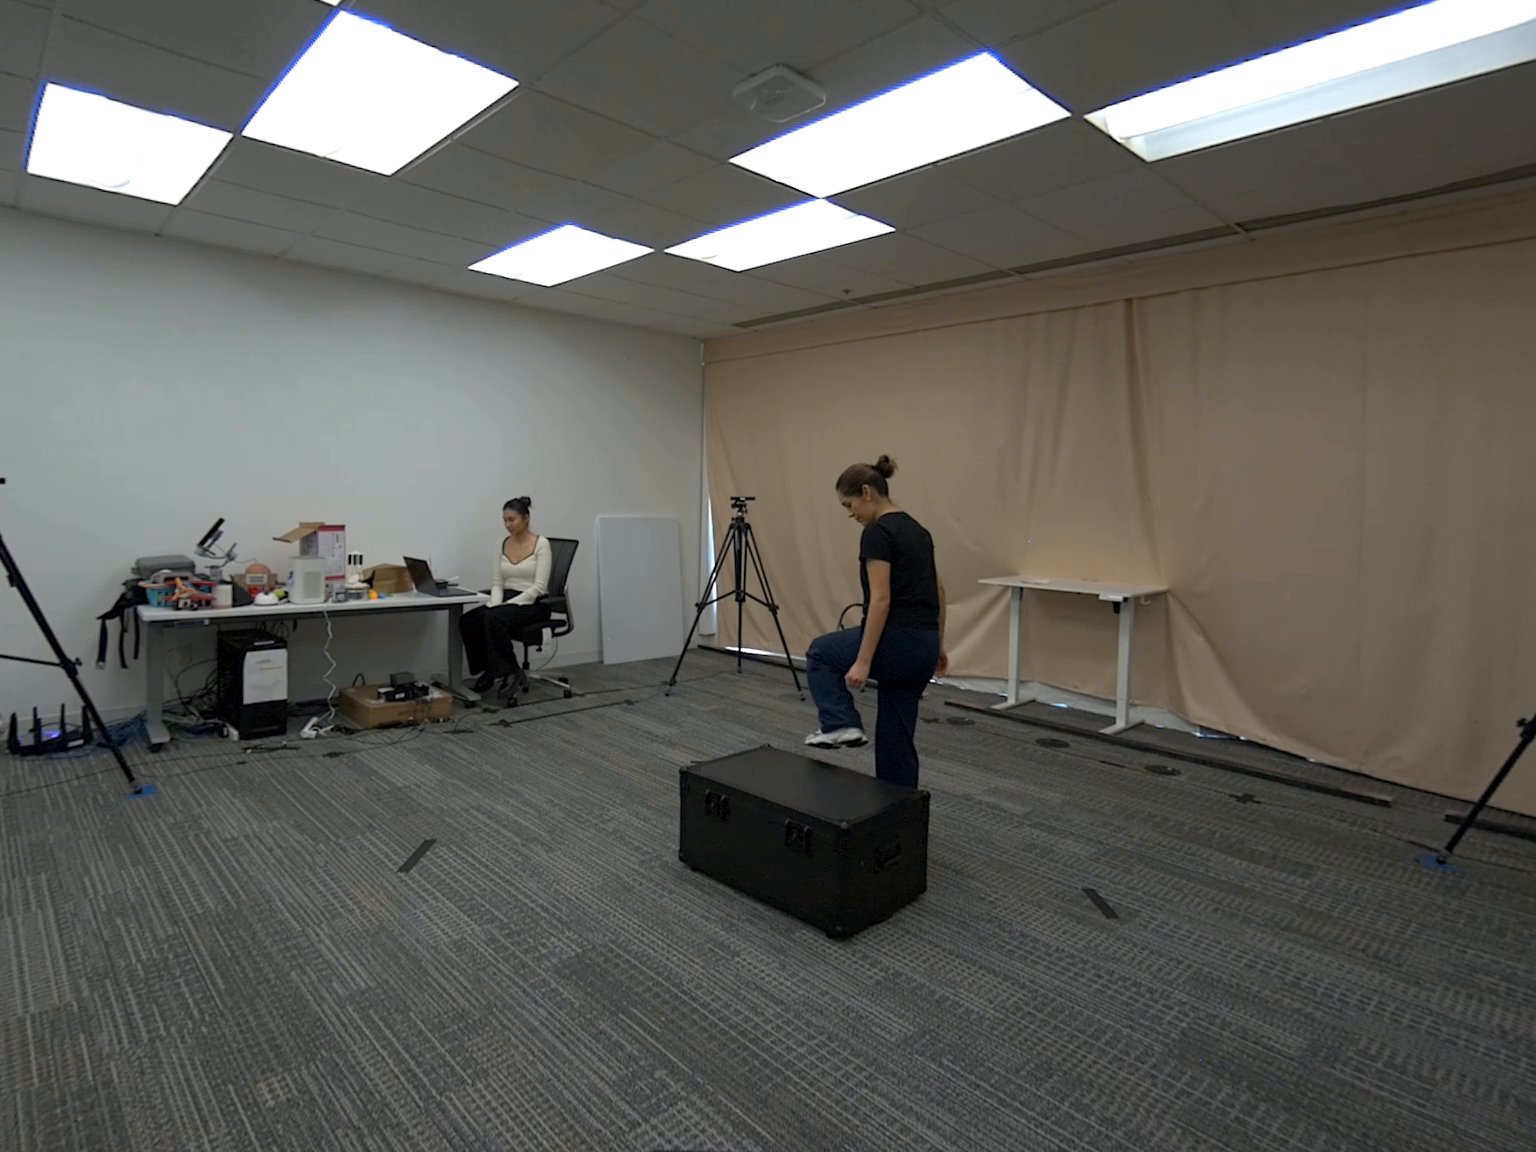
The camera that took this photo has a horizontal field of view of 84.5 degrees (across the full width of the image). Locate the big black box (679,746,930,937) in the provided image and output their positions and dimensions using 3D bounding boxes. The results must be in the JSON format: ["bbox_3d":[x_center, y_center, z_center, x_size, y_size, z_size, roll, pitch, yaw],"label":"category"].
[{"bbox_3d":[0.088,0.925,3.069,0.884,0.395,0.509,7,6,43],"label":"big black box"}]
